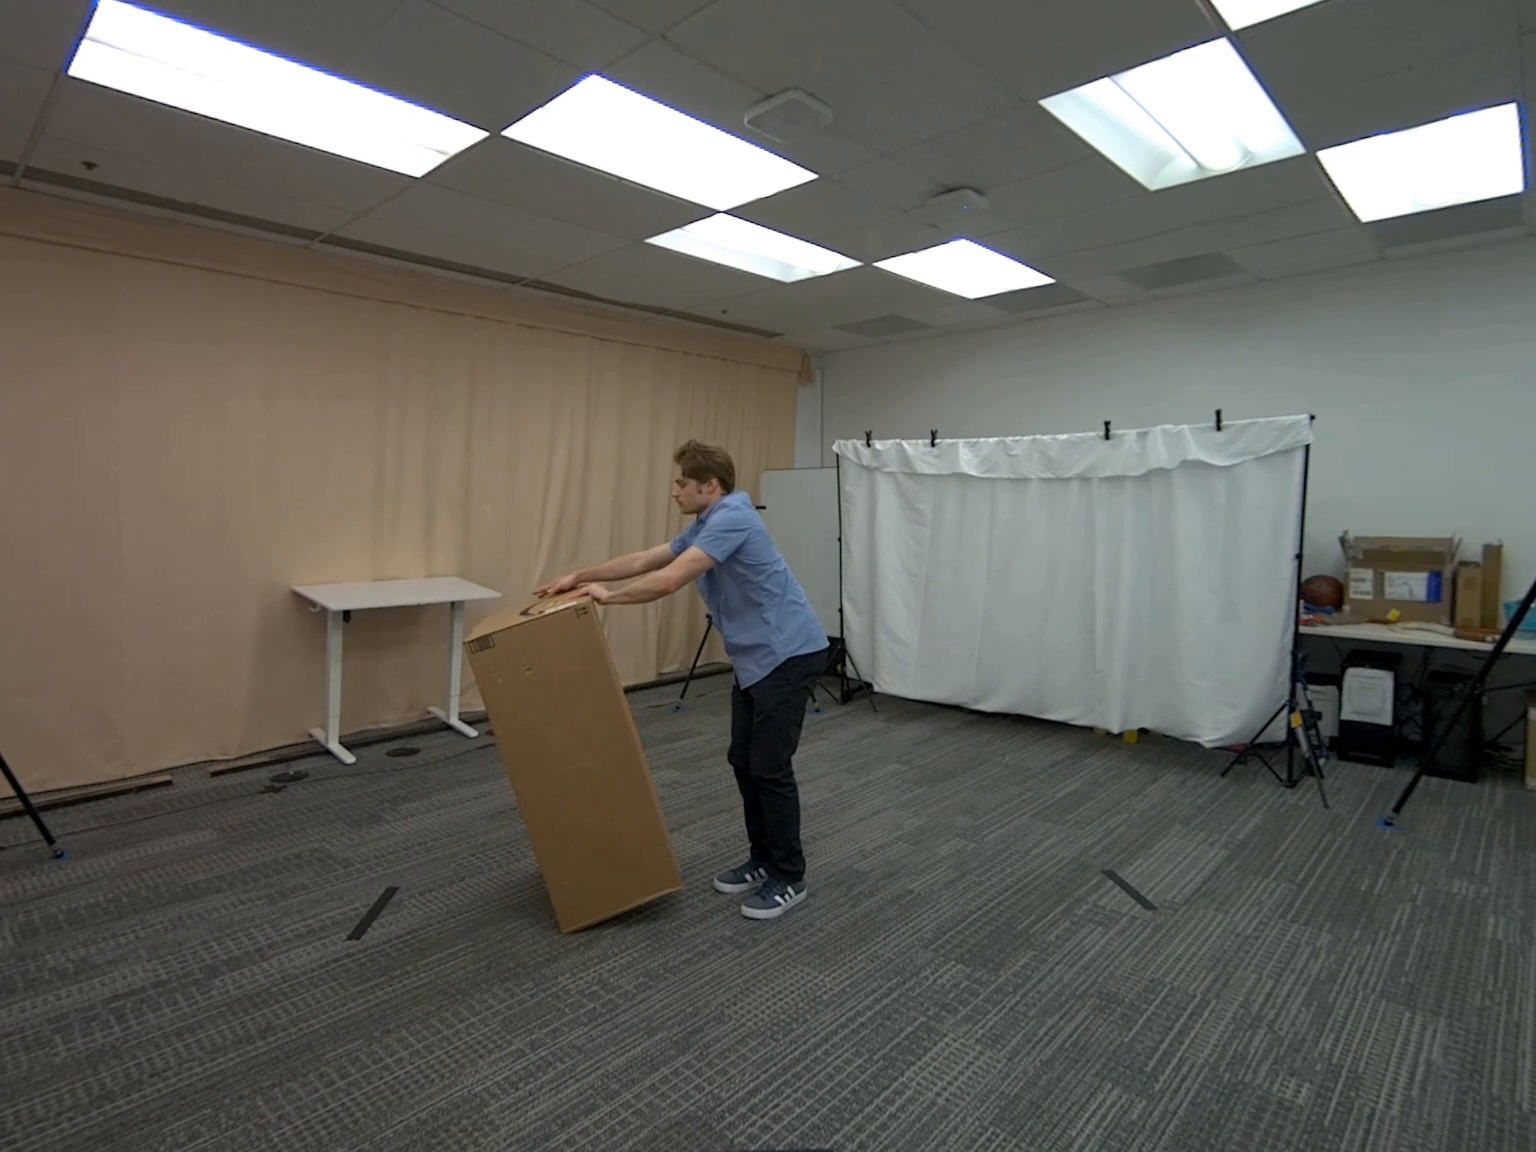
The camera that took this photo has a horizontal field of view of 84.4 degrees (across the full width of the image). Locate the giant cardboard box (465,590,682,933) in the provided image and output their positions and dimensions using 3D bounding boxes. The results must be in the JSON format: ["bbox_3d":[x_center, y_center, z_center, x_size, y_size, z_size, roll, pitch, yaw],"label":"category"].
[{"bbox_3d":[-0.680,0.599,3.004,0.444,1.022,0.591,-17,6,-9],"label":"giant cardboard box"}]
